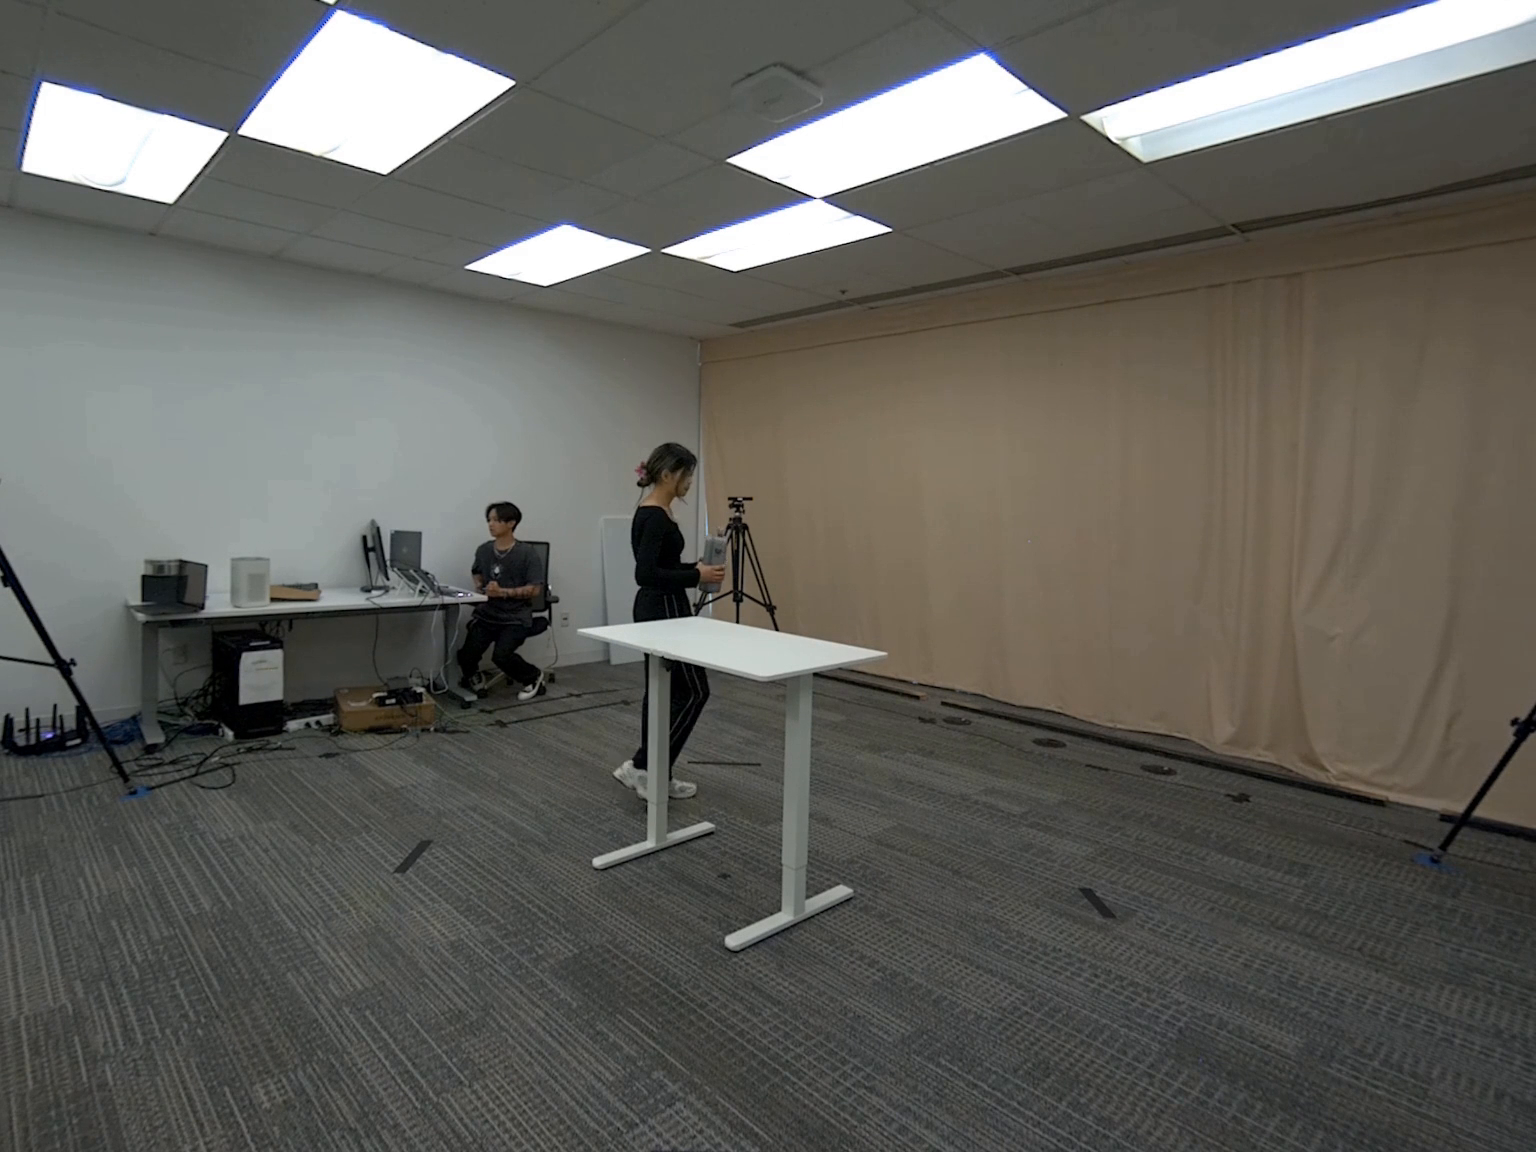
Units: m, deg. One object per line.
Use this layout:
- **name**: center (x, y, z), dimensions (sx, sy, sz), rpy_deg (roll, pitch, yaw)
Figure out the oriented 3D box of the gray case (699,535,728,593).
- **gray case**: center (-0.267, -0.064, 3.868), dimensions (0.104, 0.260, 0.258), rpy_deg (9, 5, -3)
